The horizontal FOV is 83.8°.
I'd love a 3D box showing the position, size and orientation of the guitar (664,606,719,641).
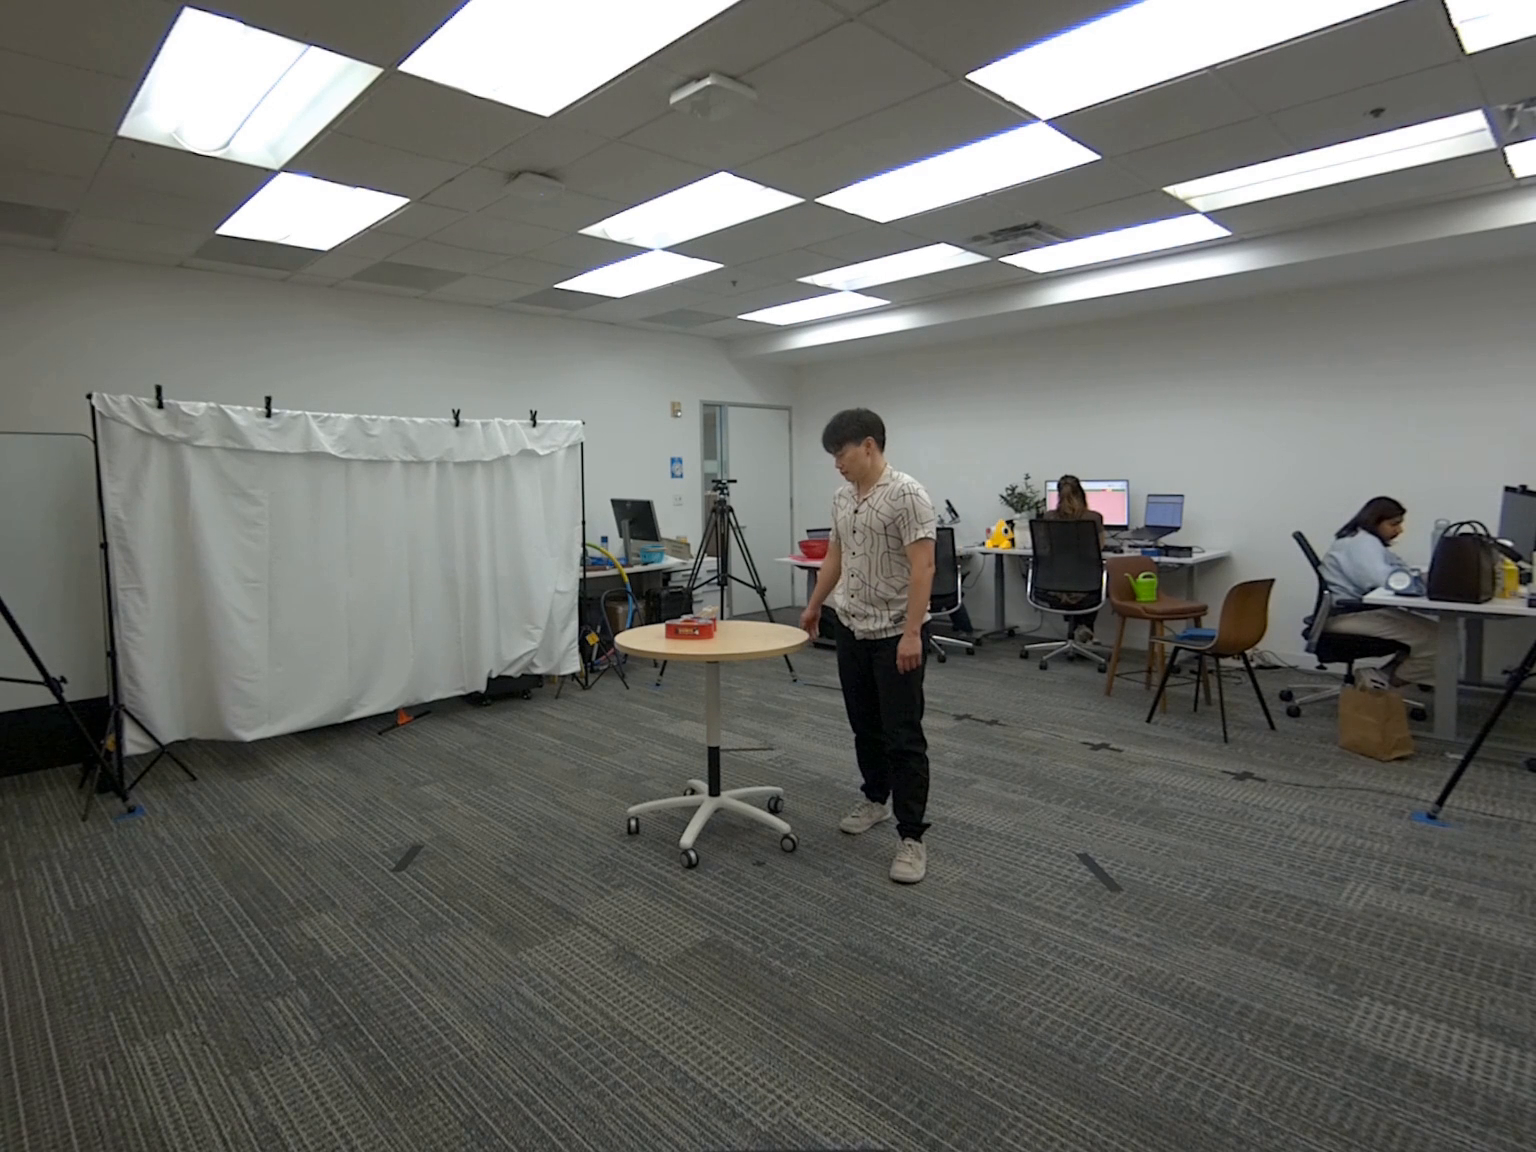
[{"bbox_3d":[-0.246,0.186,3.537,0.197,0.070,0.490,0,6,19],"label":"guitar"}]
